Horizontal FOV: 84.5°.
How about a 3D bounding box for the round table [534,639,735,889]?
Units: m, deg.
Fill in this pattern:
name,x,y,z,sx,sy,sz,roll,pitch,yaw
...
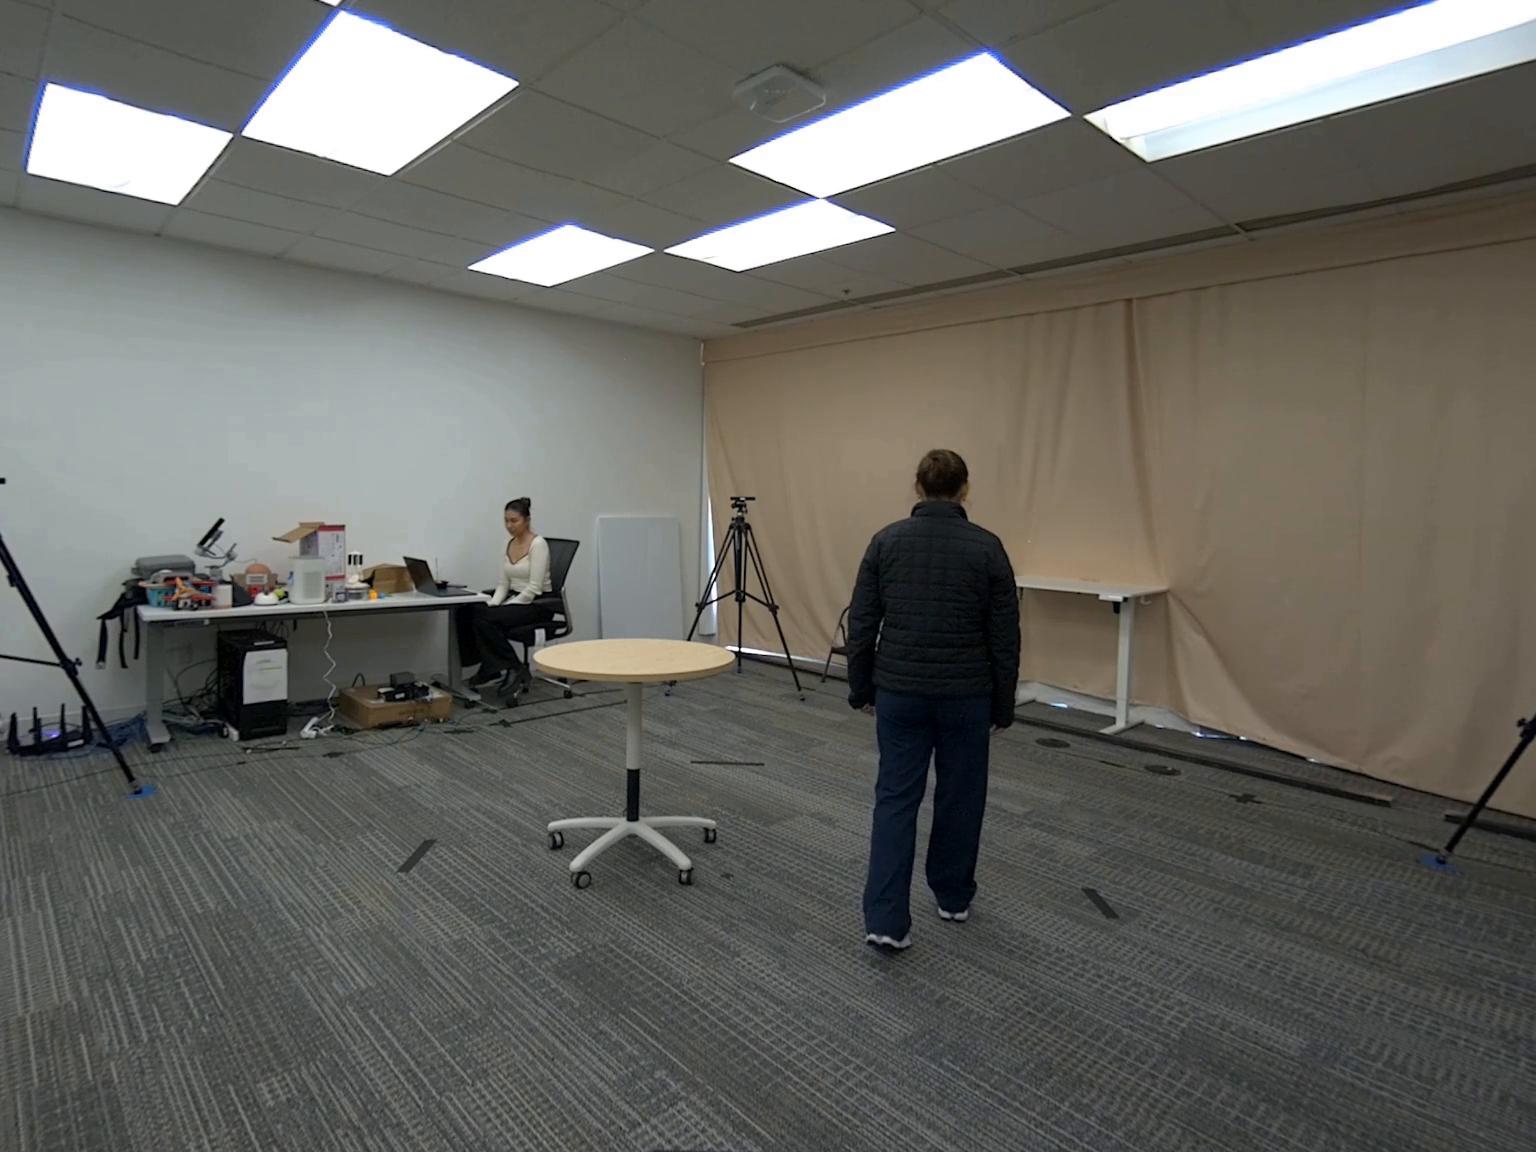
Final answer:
name,x,y,z,sx,sy,sz,roll,pitch,yaw
round table,-0.513,0.694,3.217,0.784,0.785,0.787,1,3,-1
